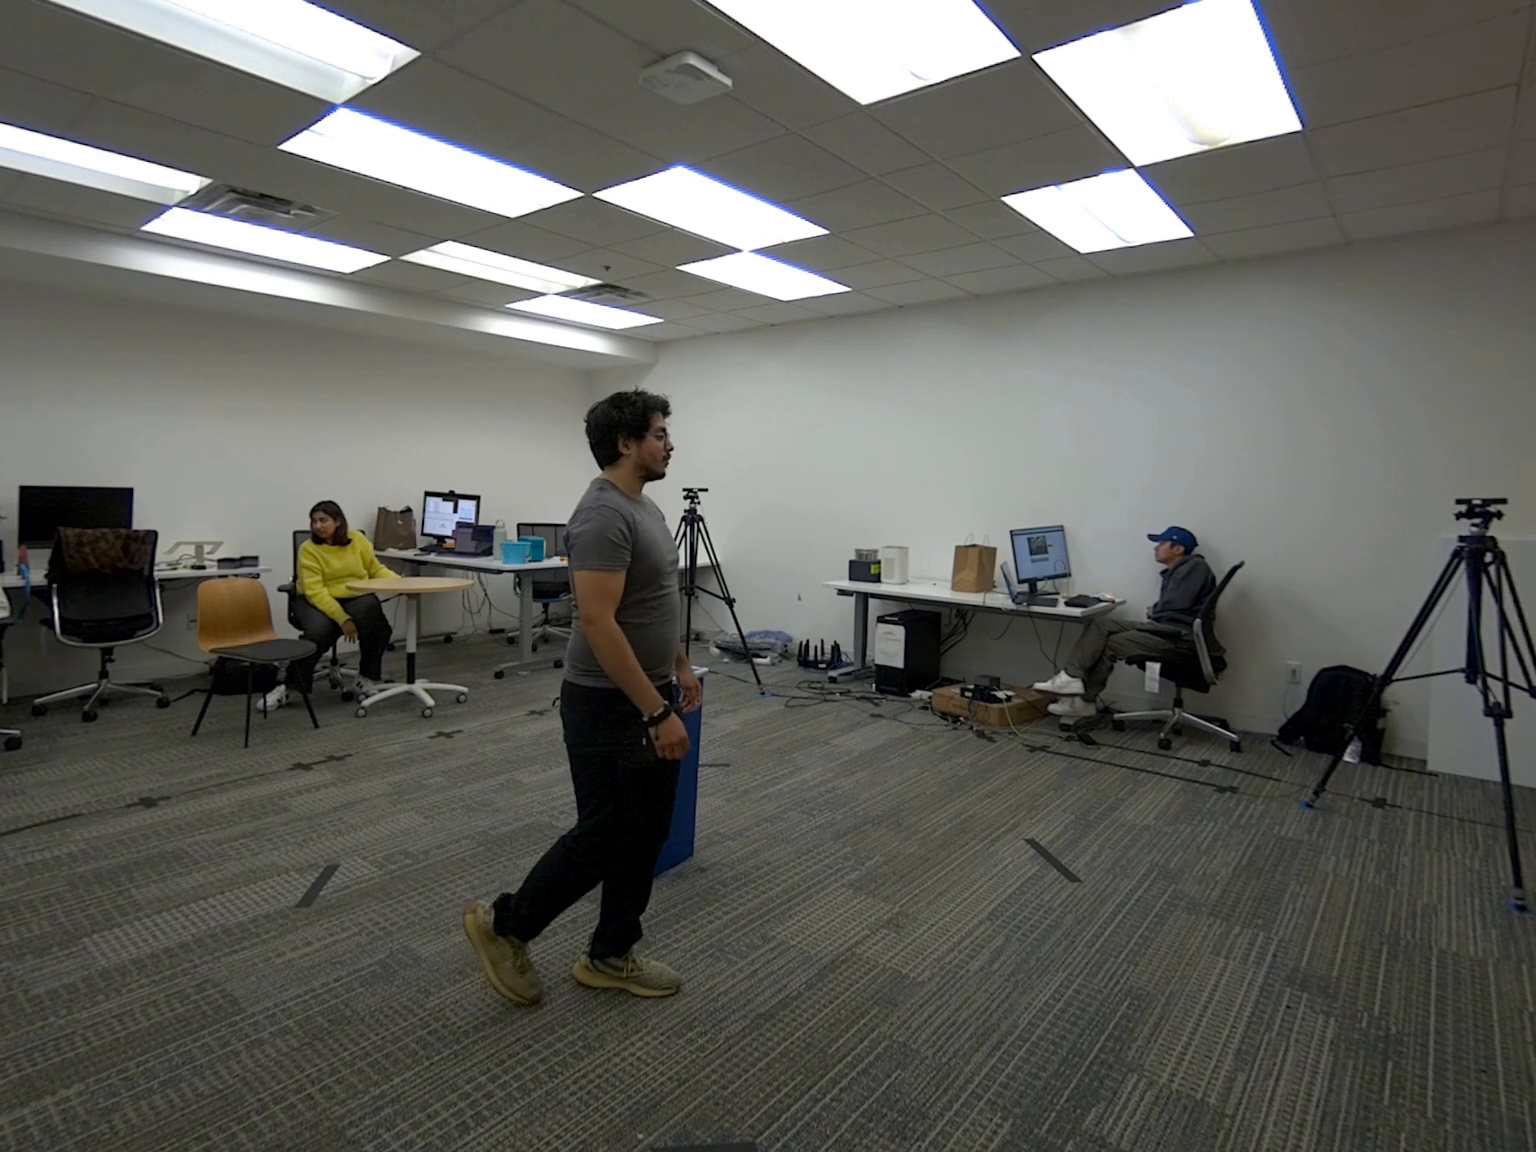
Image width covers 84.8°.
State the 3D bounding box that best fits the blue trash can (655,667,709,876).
[{"bbox_3d":[-0.480,0.697,3.187,0.390,0.711,0.364,3,4,32],"label":"blue trash can"}]
